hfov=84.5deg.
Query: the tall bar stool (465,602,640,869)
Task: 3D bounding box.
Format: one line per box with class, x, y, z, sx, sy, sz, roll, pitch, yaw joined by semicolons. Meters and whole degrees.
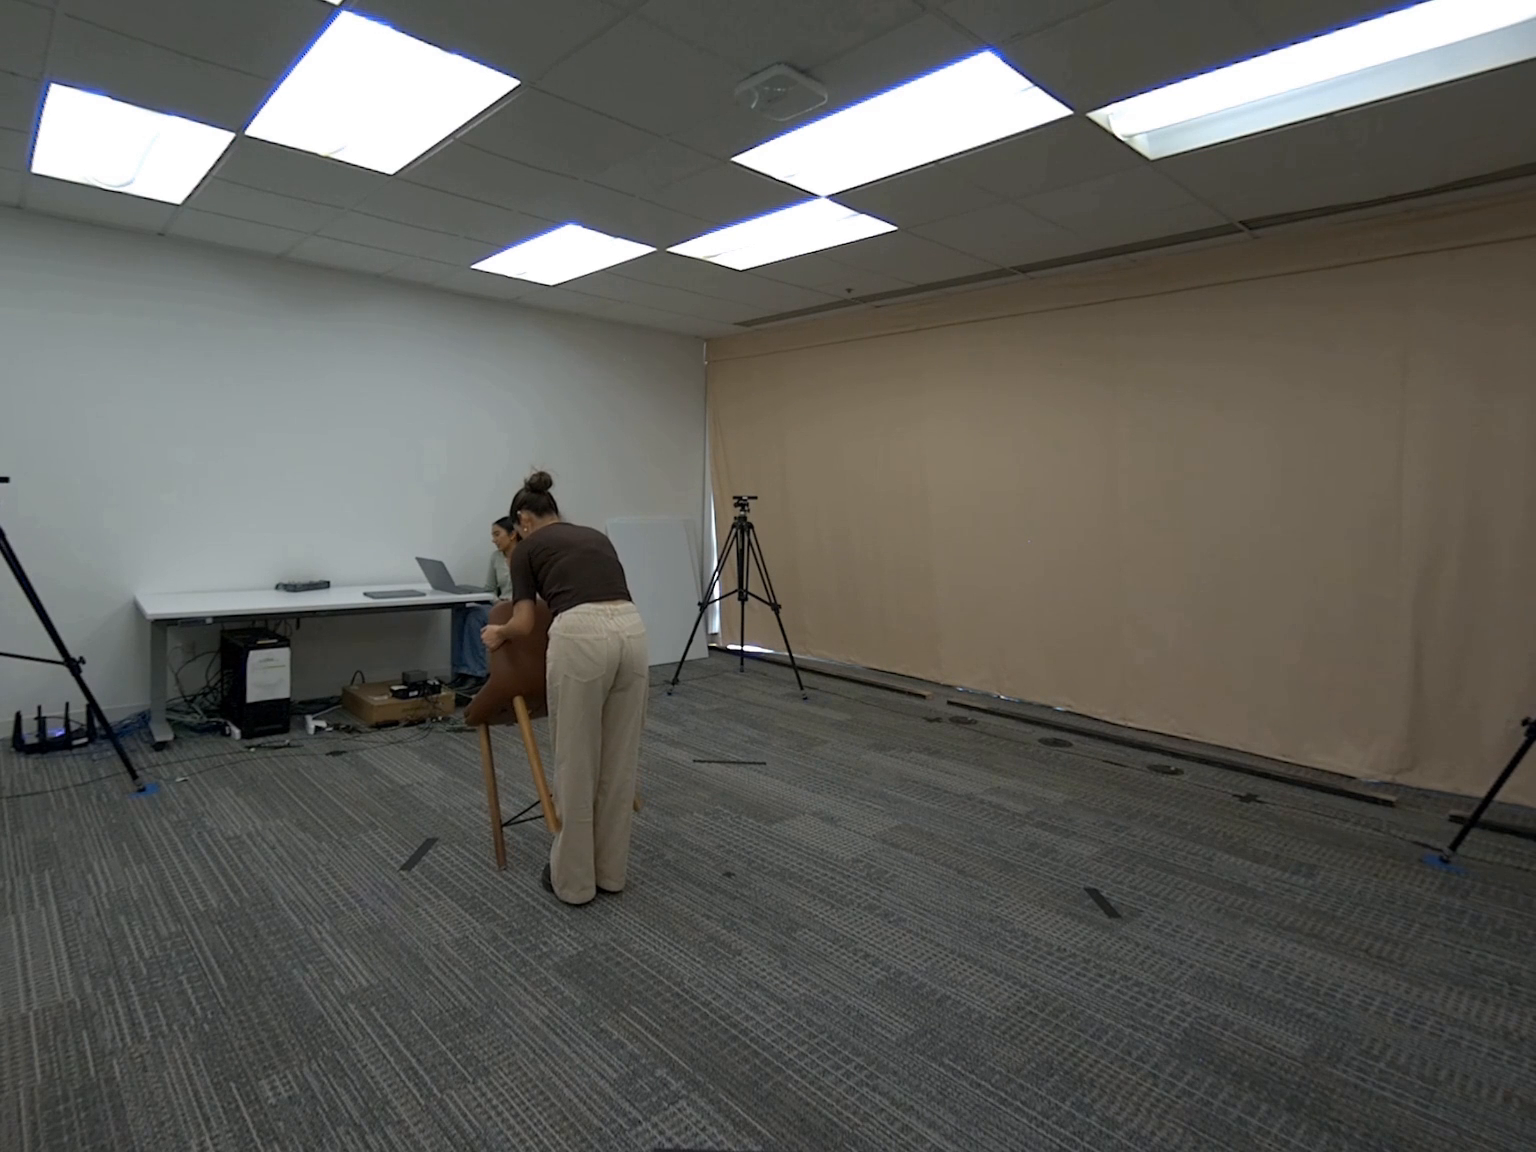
tall bar stool;-0.878;0.584;3.251;0.446;0.906;0.469;-2;-26;-42
